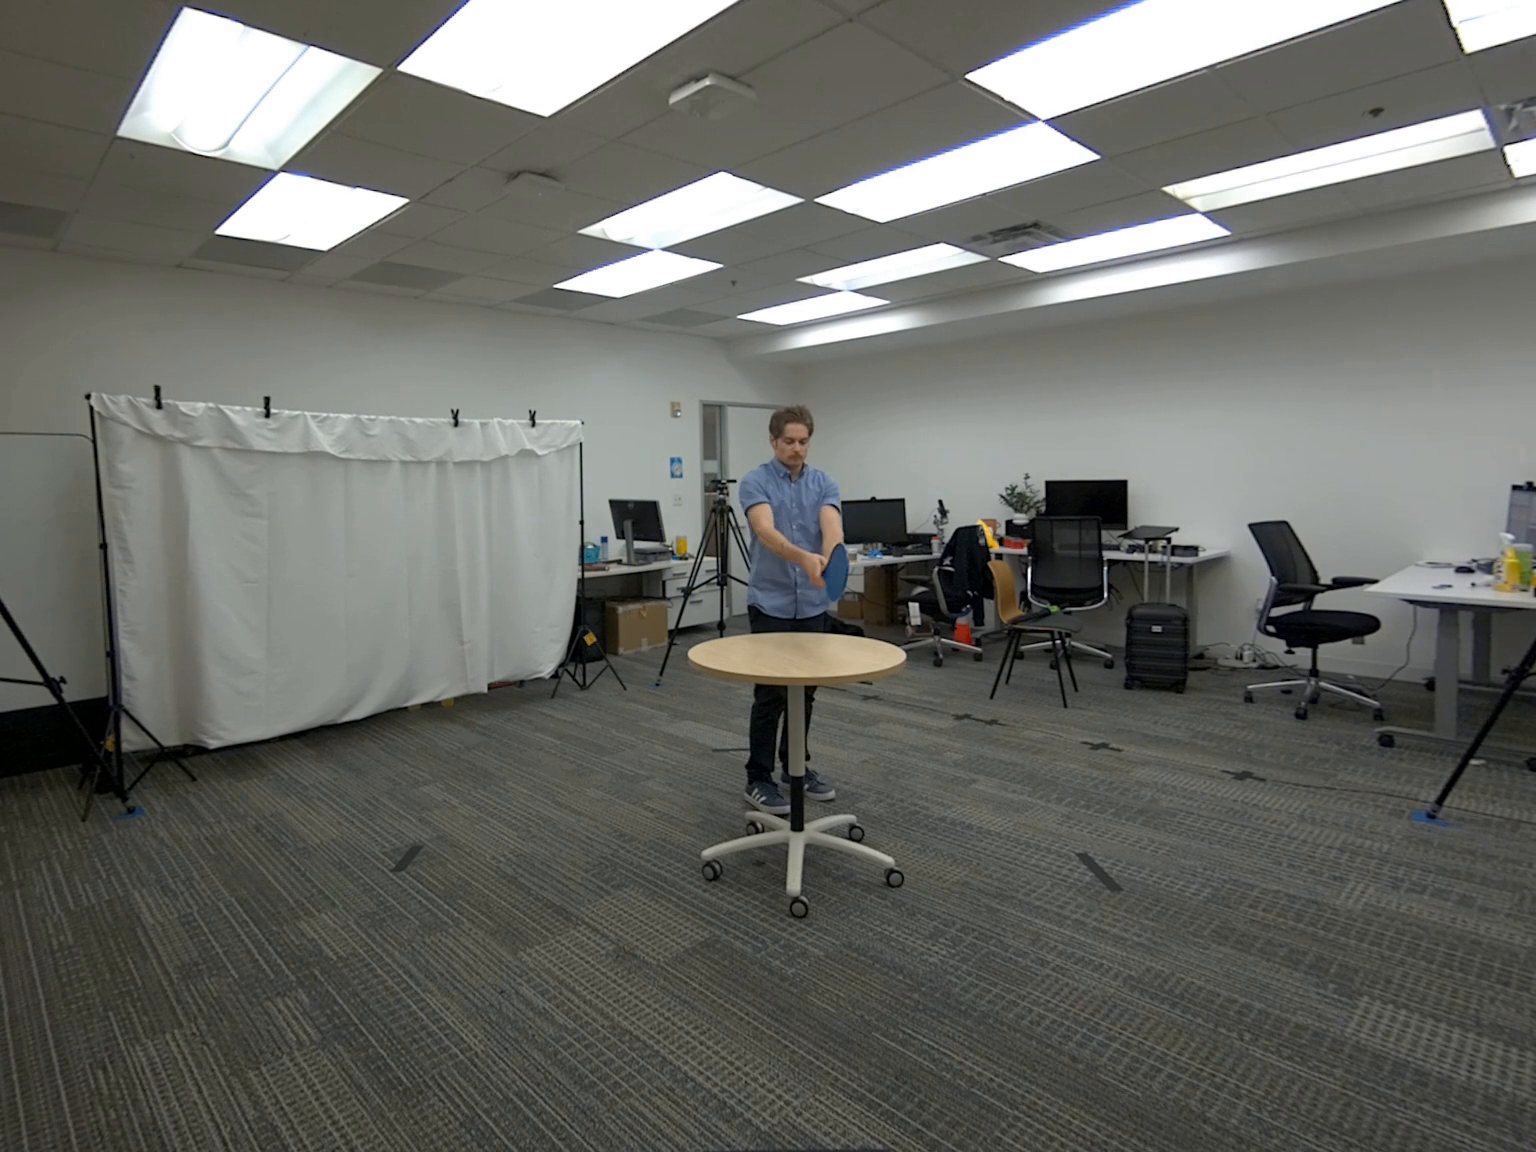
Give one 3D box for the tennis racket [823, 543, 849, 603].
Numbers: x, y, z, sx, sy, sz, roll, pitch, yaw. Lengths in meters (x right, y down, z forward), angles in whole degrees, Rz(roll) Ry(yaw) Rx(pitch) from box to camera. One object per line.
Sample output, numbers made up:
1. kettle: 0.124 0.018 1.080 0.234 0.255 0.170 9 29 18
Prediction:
1. tennis racket: 0.244 -0.005 3.121 0.031 0.216 0.432 3 -9 -9
